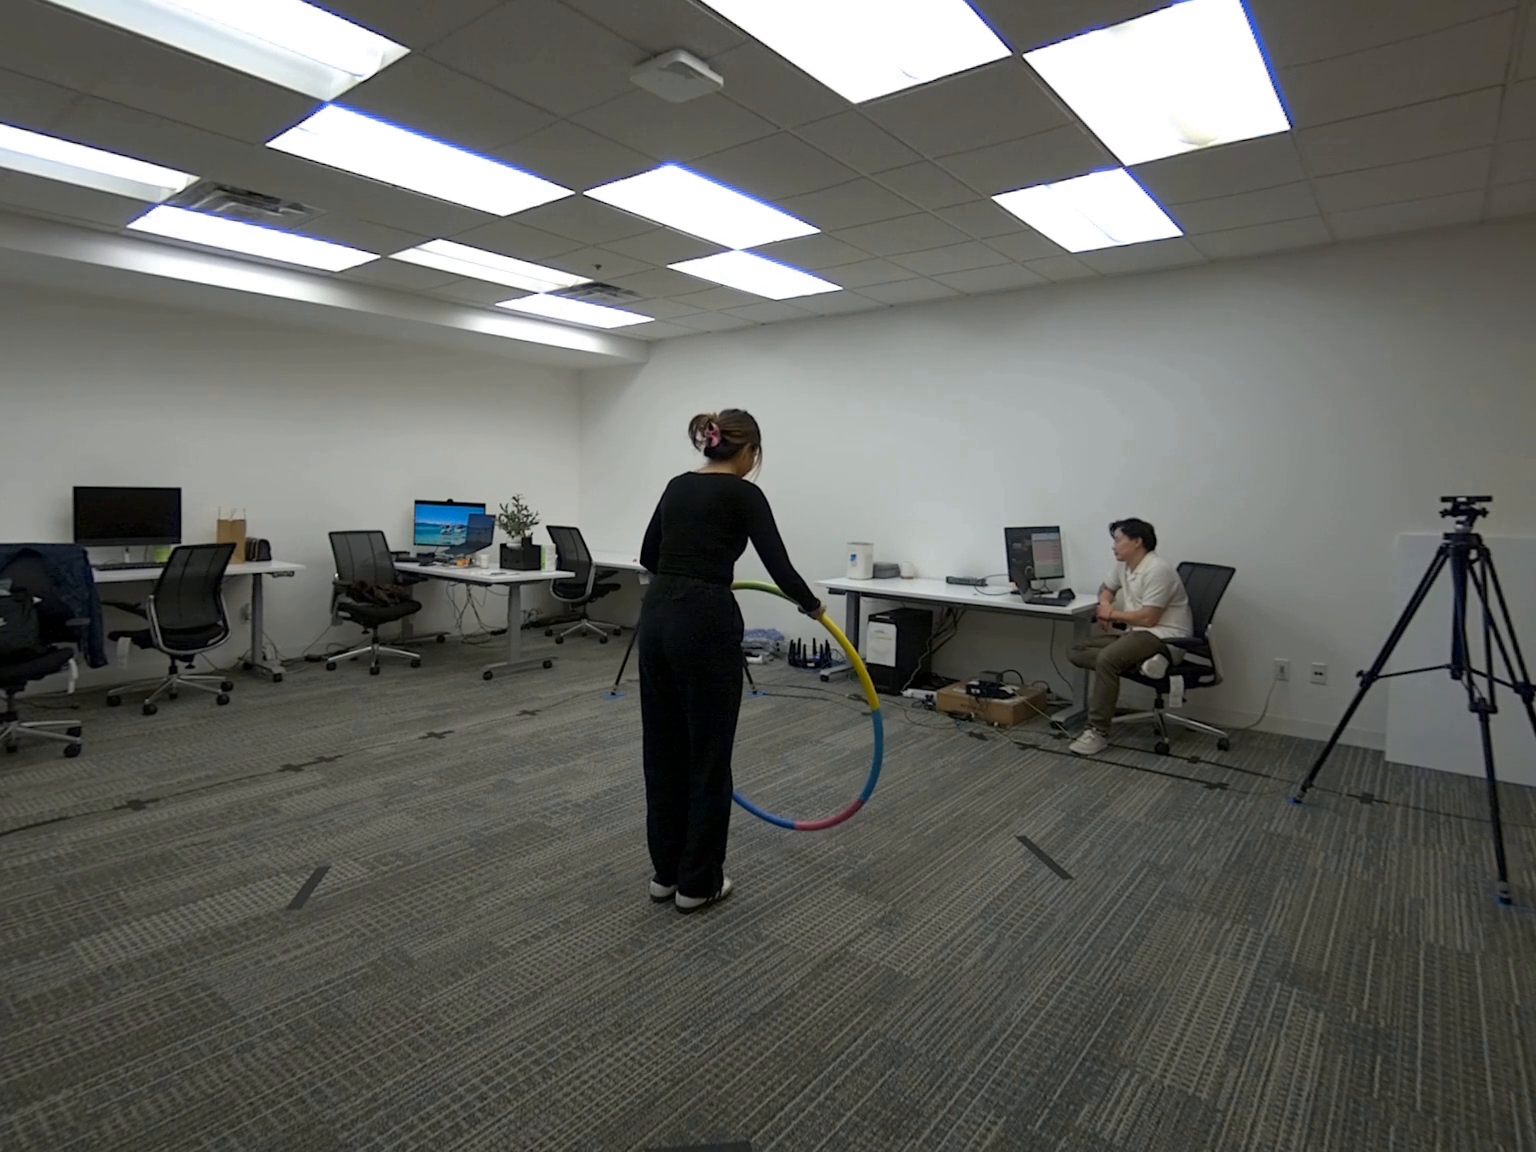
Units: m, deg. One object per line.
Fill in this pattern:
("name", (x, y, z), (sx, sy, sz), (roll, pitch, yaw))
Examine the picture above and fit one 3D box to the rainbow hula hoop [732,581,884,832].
("rainbow hula hoop", (-0.012, 0.491, 3.228), (1.011, 0.966, 0.035), (4, 16, 38))
